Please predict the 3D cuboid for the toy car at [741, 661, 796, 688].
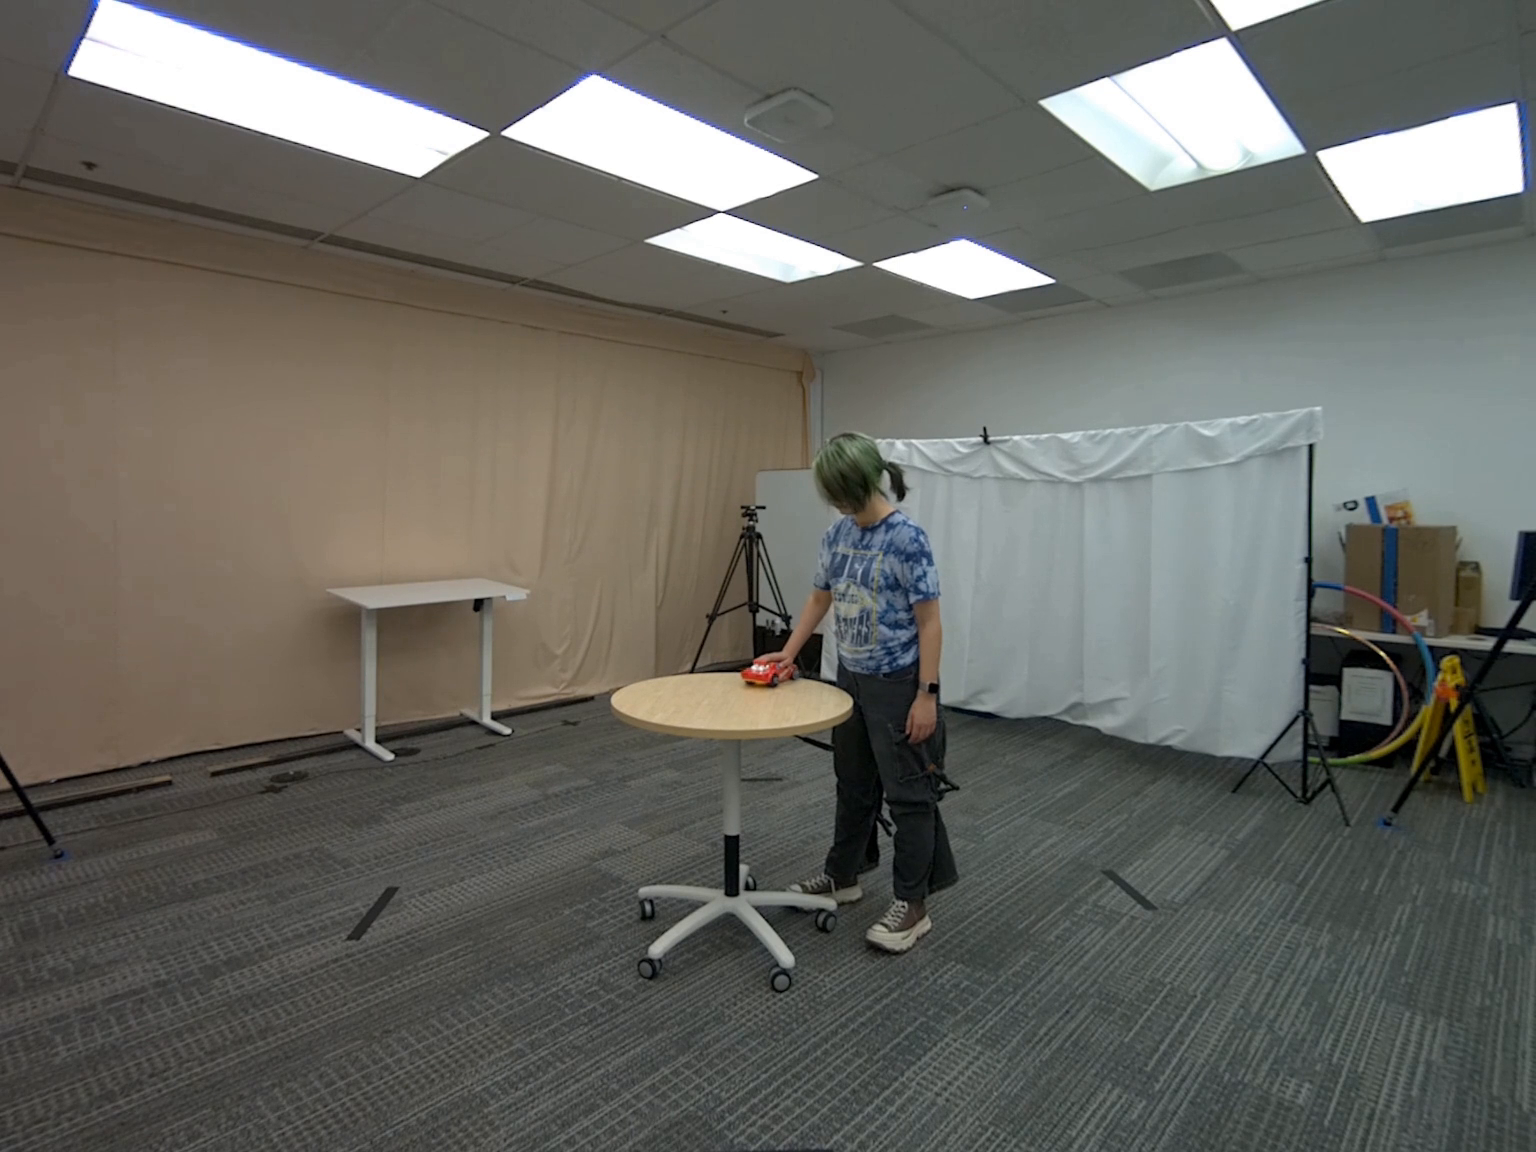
[{"bbox_3d":[0.005,0.342,2.888,0.134,0.083,0.246,4,-5,33],"label":"toy car"}]
